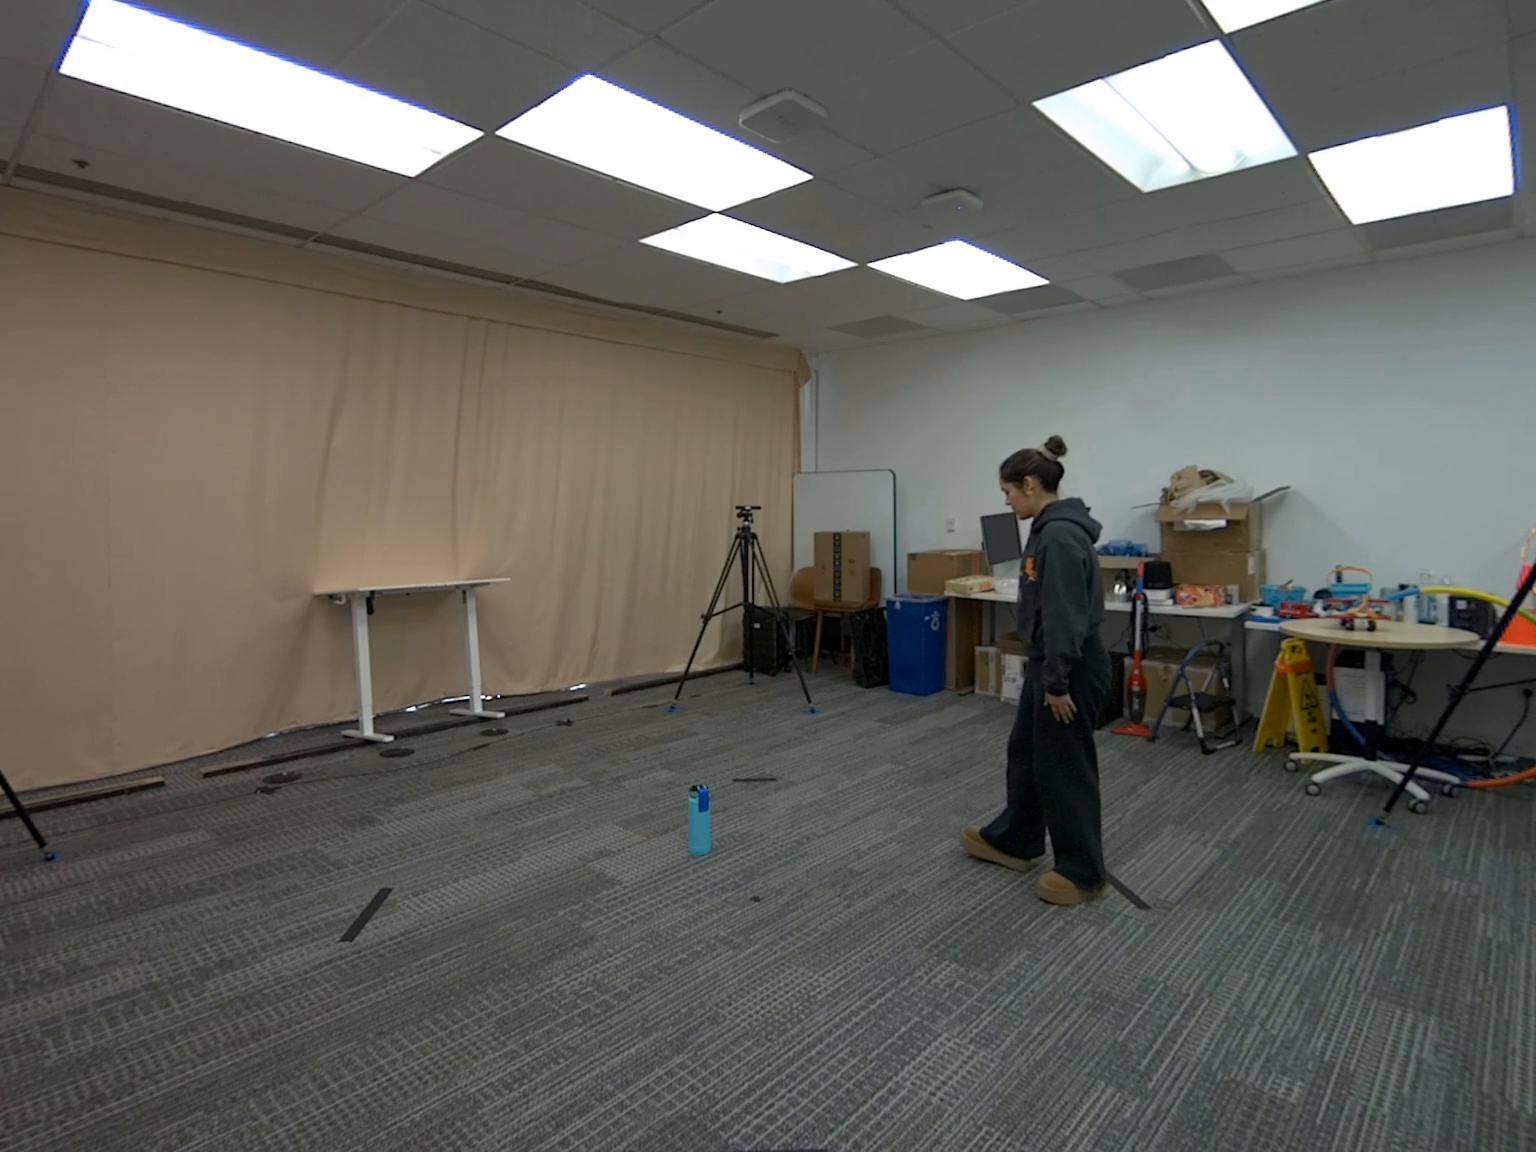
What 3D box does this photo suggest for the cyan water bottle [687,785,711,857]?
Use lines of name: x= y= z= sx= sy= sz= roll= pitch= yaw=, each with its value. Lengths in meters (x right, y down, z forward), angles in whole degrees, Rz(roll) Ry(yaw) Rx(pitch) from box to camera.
cyan water bottle: x=-0.255 y=0.972 z=3.394 sx=0.092 sy=0.283 sz=0.093 roll=-1 pitch=4 yaw=-2
